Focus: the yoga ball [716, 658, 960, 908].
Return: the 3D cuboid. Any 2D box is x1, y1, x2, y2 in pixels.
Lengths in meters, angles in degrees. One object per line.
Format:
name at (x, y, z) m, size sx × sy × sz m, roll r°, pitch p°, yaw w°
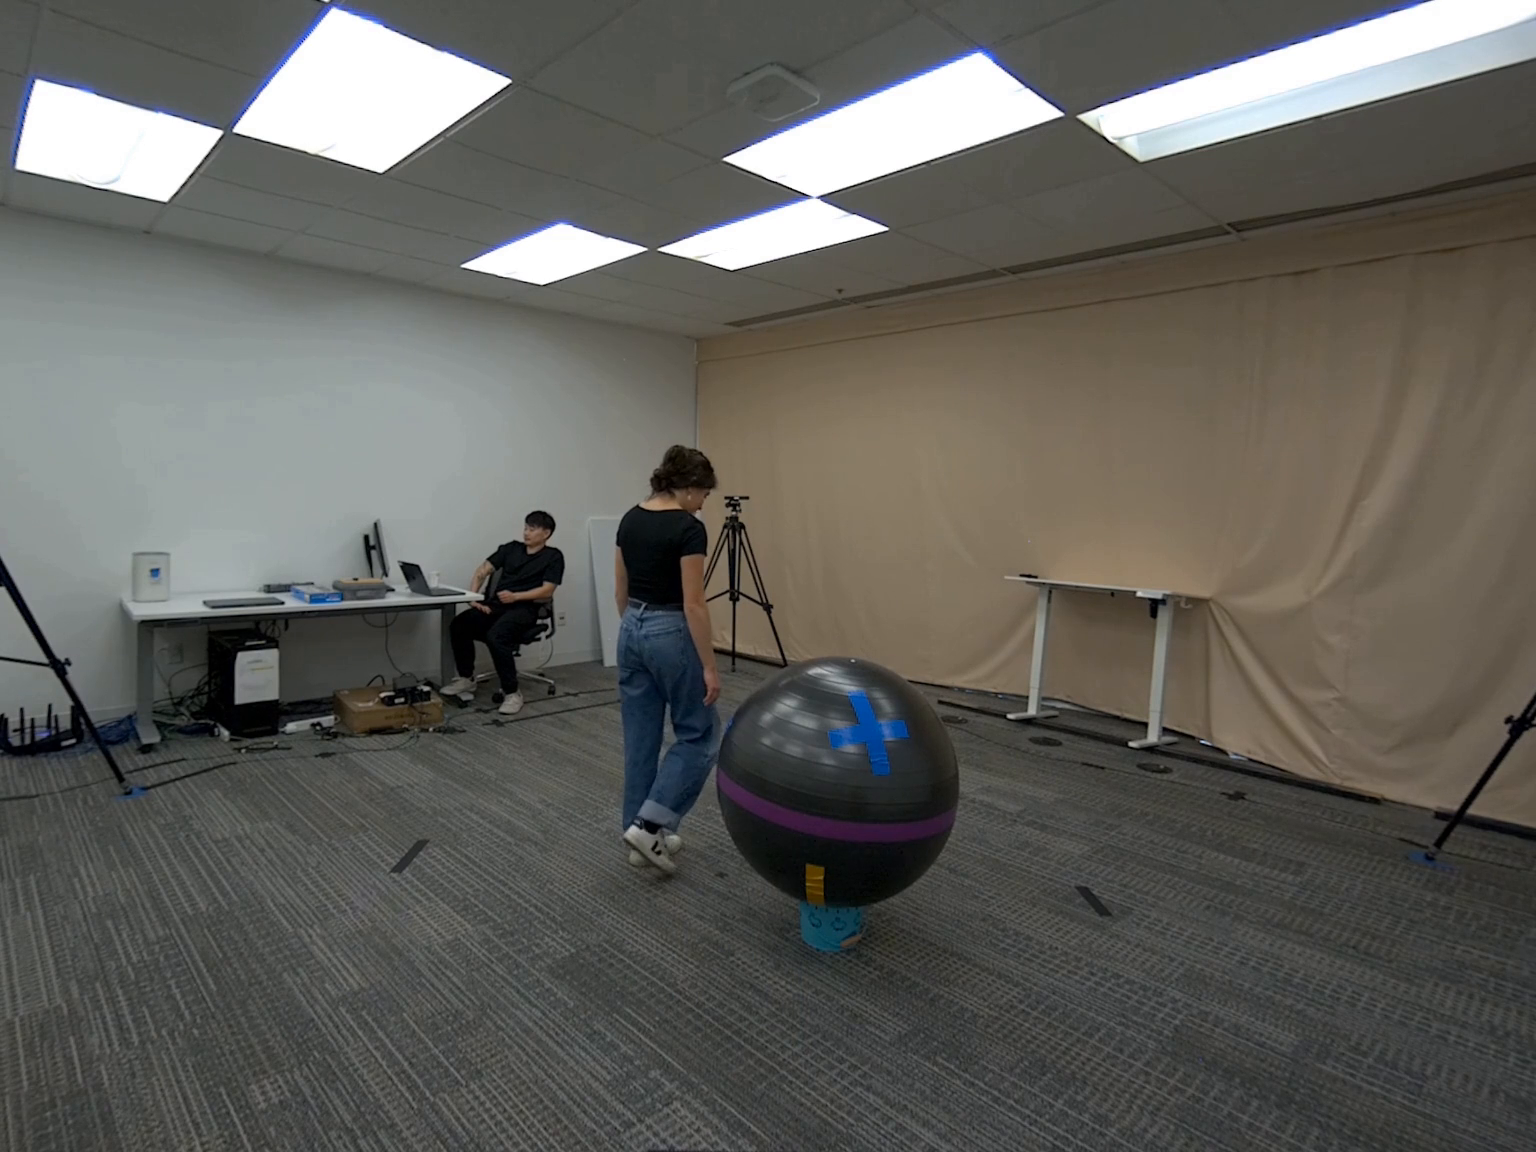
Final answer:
yoga ball at (0.216, 0.644, 2.656) m, size 0.757 × 0.756 × 0.761 m, roll 1°, pitch 4°, yaw -1°
